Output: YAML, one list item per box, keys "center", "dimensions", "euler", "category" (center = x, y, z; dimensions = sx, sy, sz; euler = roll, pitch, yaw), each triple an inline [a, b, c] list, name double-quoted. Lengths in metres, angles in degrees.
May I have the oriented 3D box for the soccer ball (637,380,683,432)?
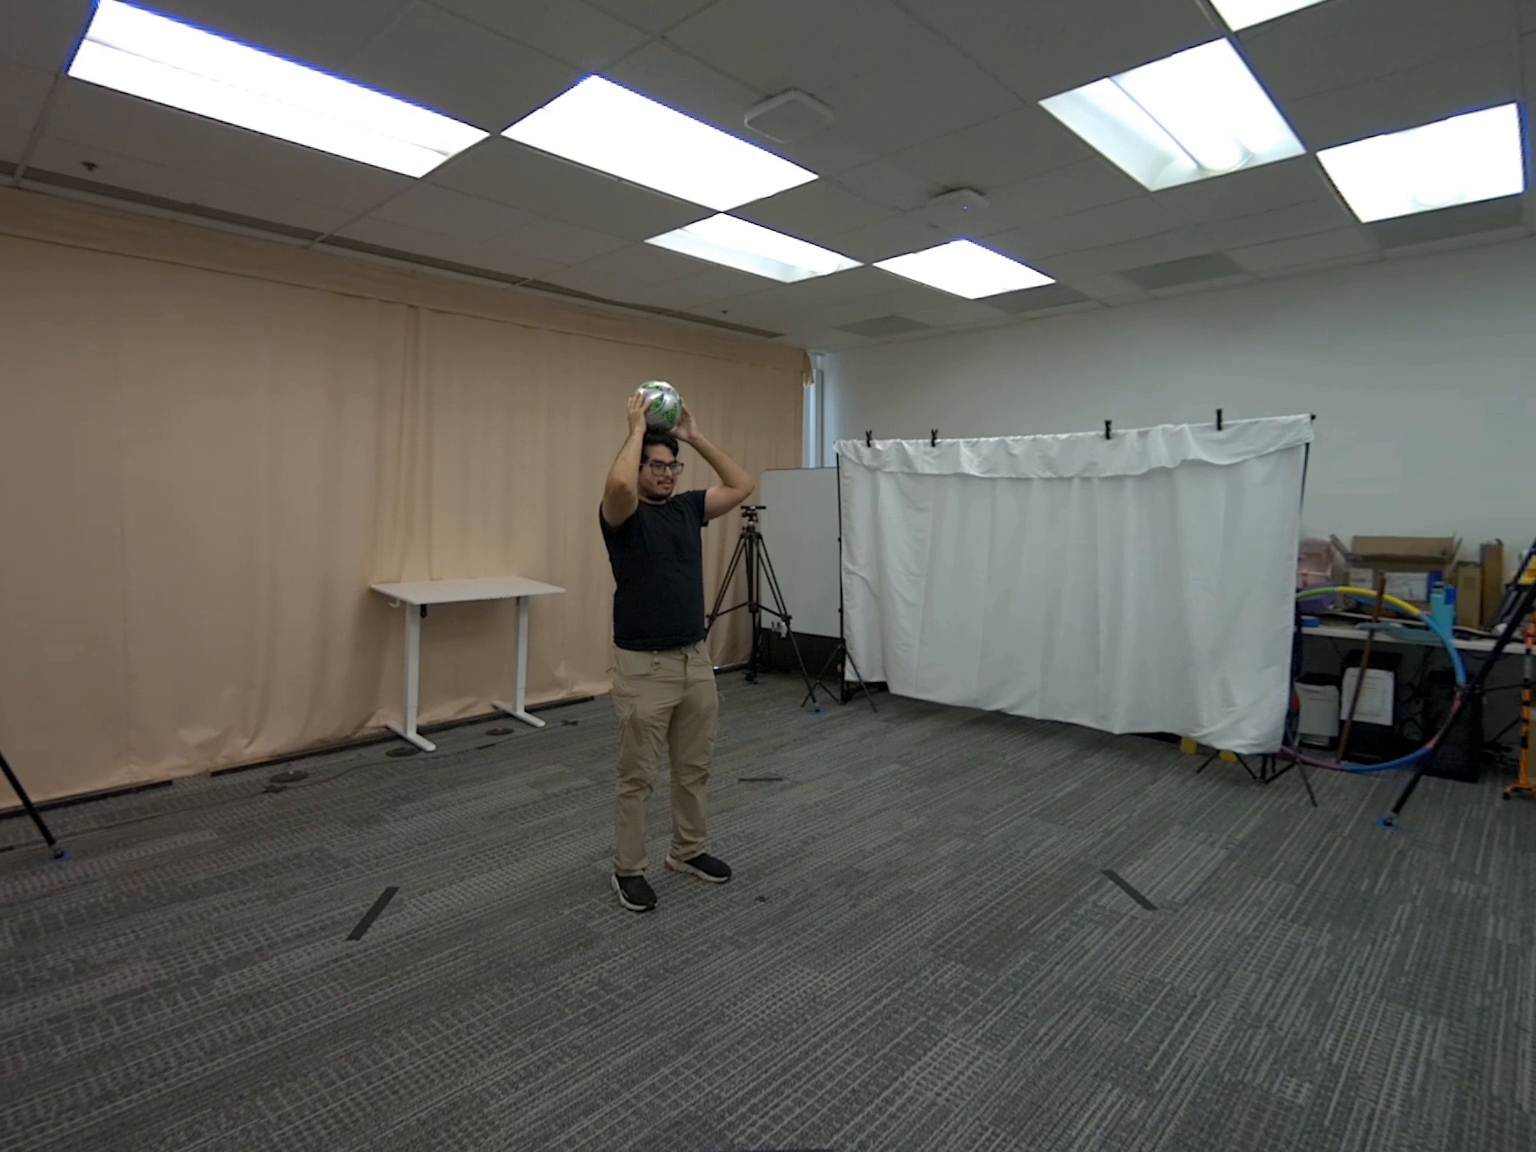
- center: [-0.397, -0.592, 2.971]
  dimensions: [0.187, 0.187, 0.188]
  euler: [0, 4, -2]
  category: "soccer ball"
